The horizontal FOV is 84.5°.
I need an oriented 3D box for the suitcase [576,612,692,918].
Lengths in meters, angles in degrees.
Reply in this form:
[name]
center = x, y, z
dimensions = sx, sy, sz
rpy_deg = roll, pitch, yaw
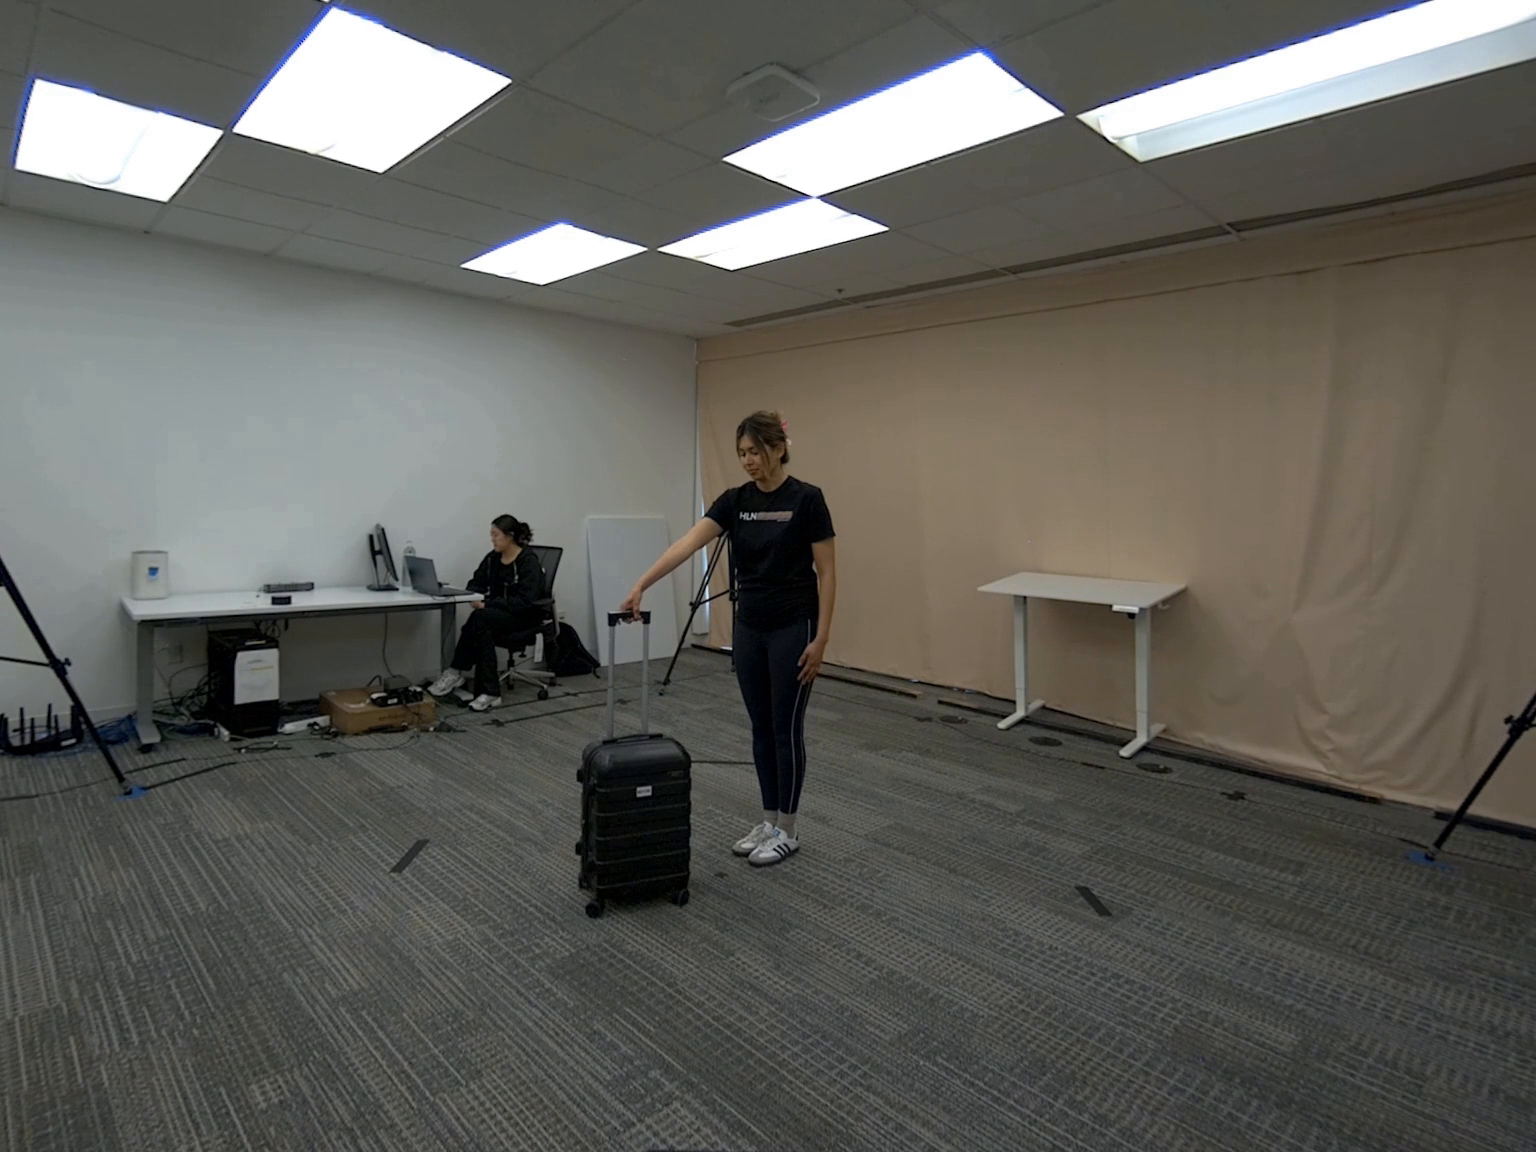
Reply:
[suitcase]
center = -0.460, 0.641, 2.904
dimensions = 0.377, 0.976, 0.262
rpy_deg = -1, 4, -23
